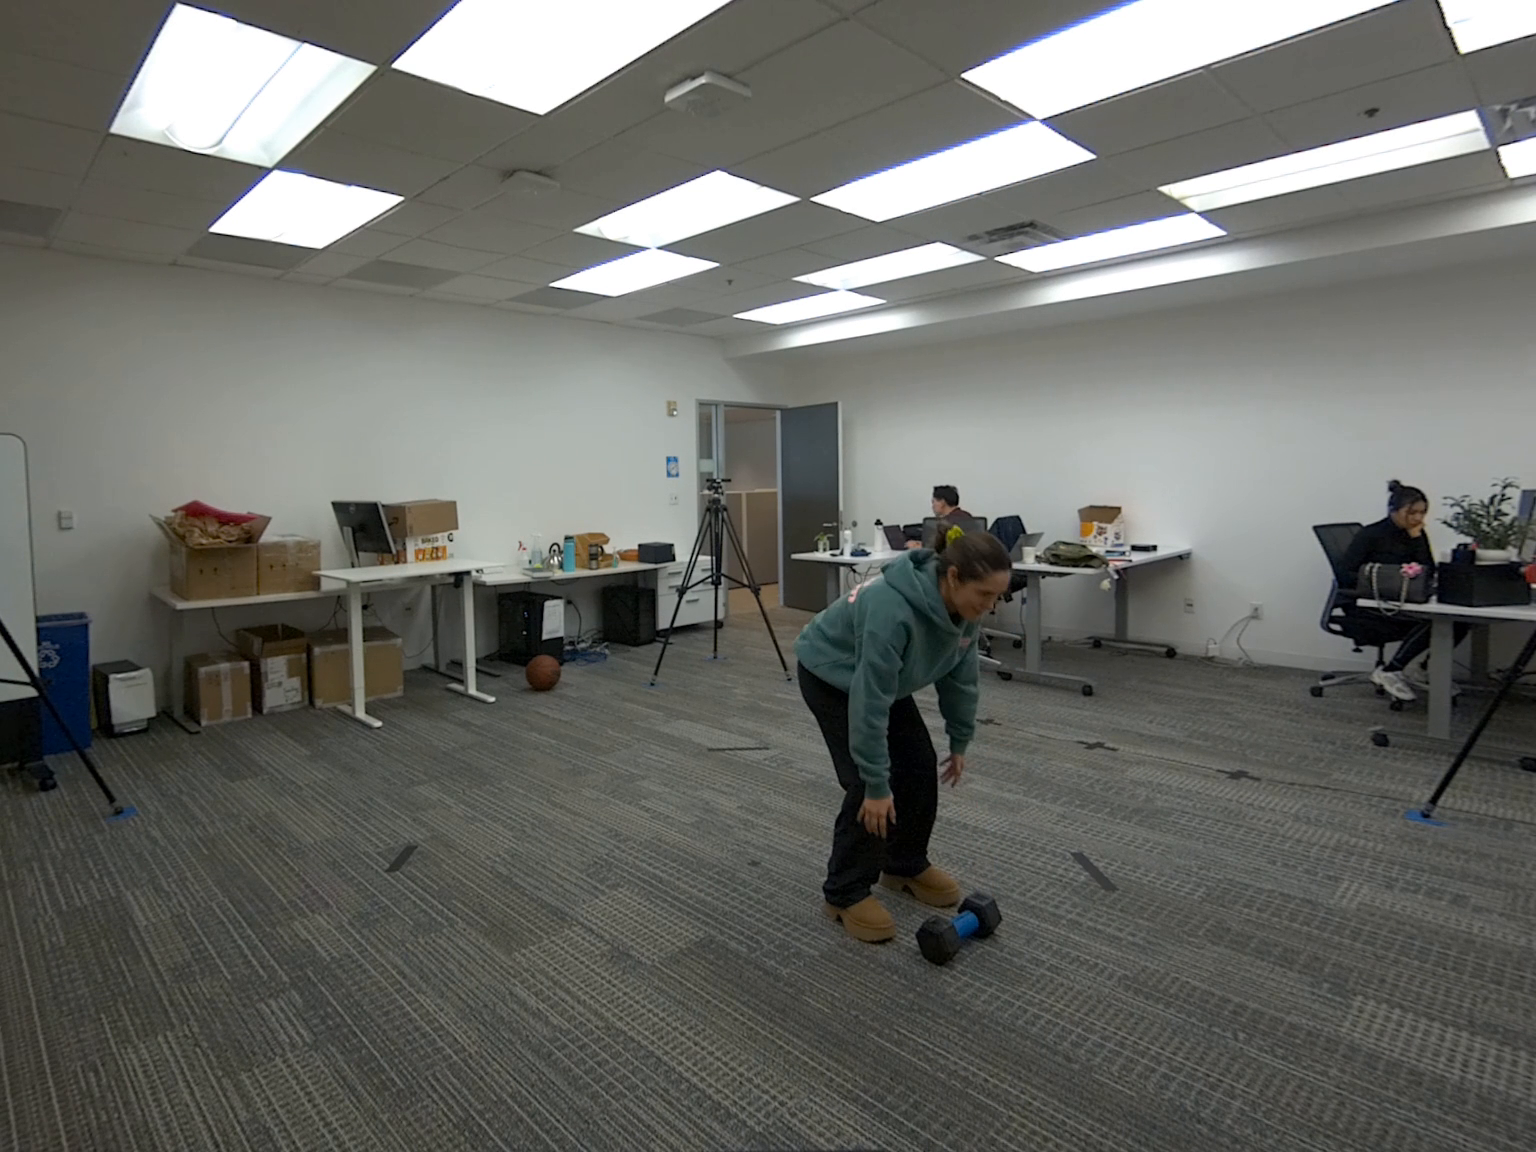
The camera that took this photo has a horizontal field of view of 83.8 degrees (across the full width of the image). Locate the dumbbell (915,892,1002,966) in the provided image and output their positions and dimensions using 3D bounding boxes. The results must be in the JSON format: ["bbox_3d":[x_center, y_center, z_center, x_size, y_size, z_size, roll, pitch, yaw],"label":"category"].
[{"bbox_3d":[0.570,1.043,2.543,0.286,0.121,0.113,-6,40,-40],"label":"dumbbell"}]
